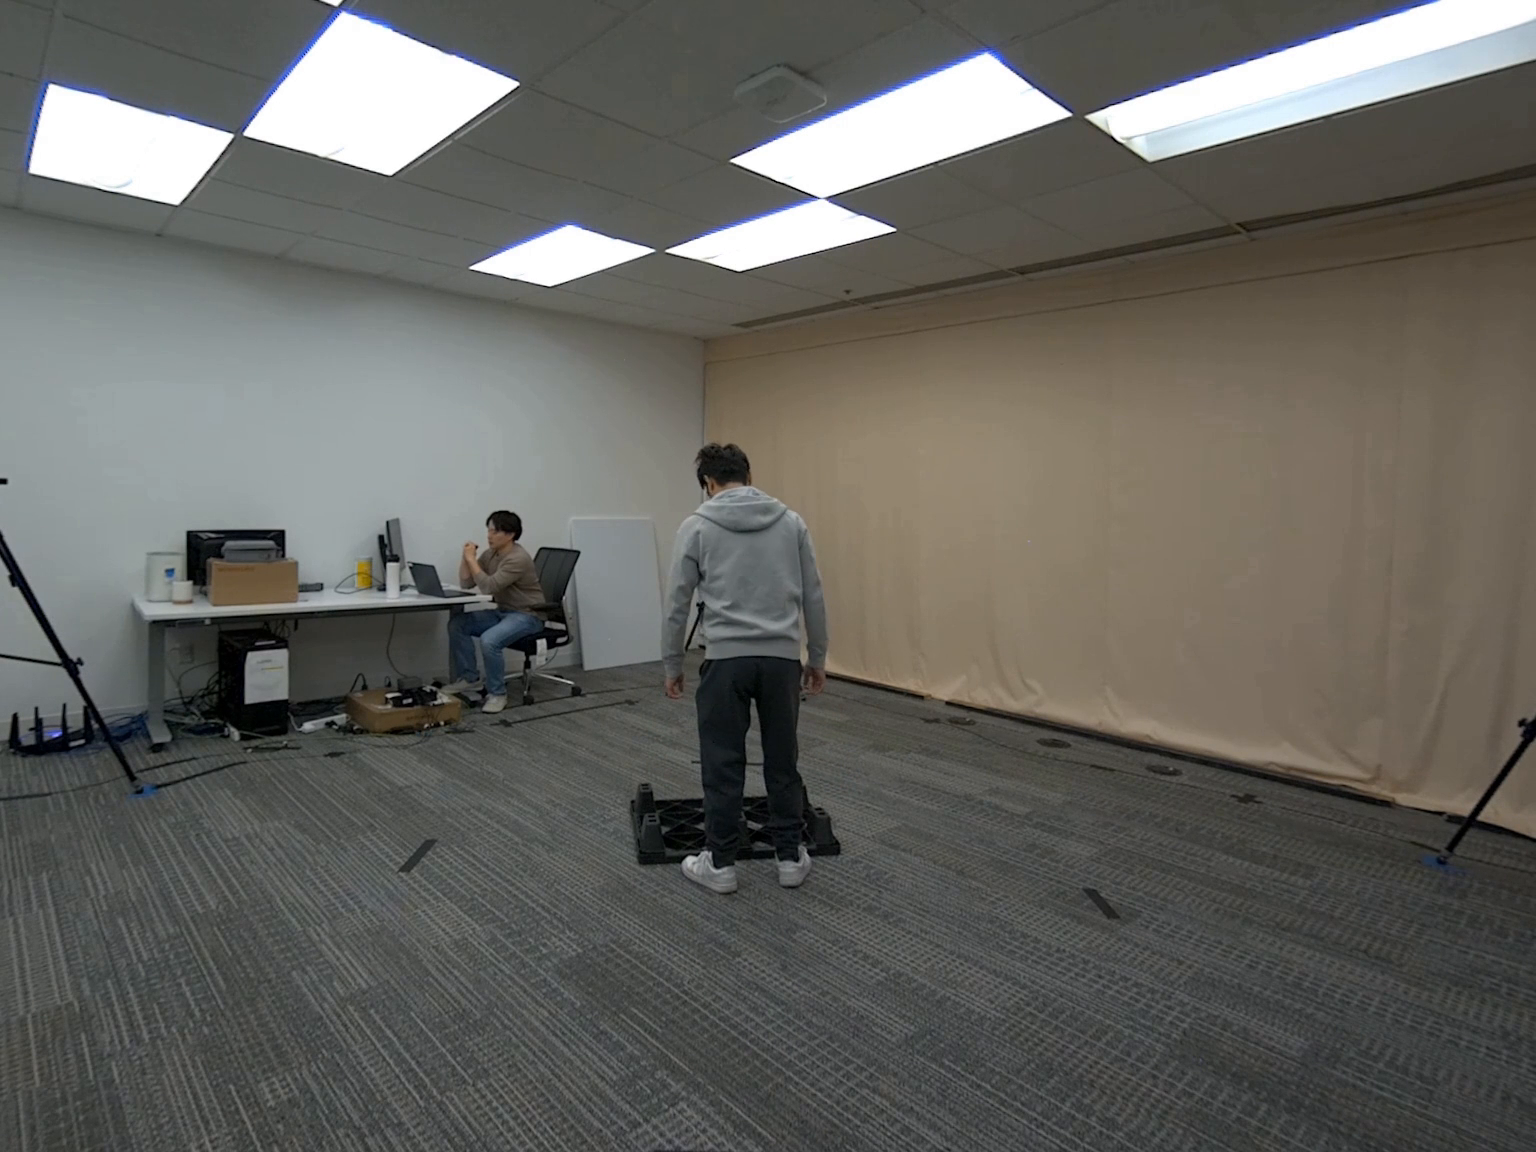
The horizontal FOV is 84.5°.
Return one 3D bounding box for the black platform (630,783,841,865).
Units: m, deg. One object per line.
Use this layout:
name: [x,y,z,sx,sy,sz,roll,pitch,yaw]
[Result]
black platform: [-0.172,1.002,3.530,0.798,0.143,0.612,0,5,-12]
